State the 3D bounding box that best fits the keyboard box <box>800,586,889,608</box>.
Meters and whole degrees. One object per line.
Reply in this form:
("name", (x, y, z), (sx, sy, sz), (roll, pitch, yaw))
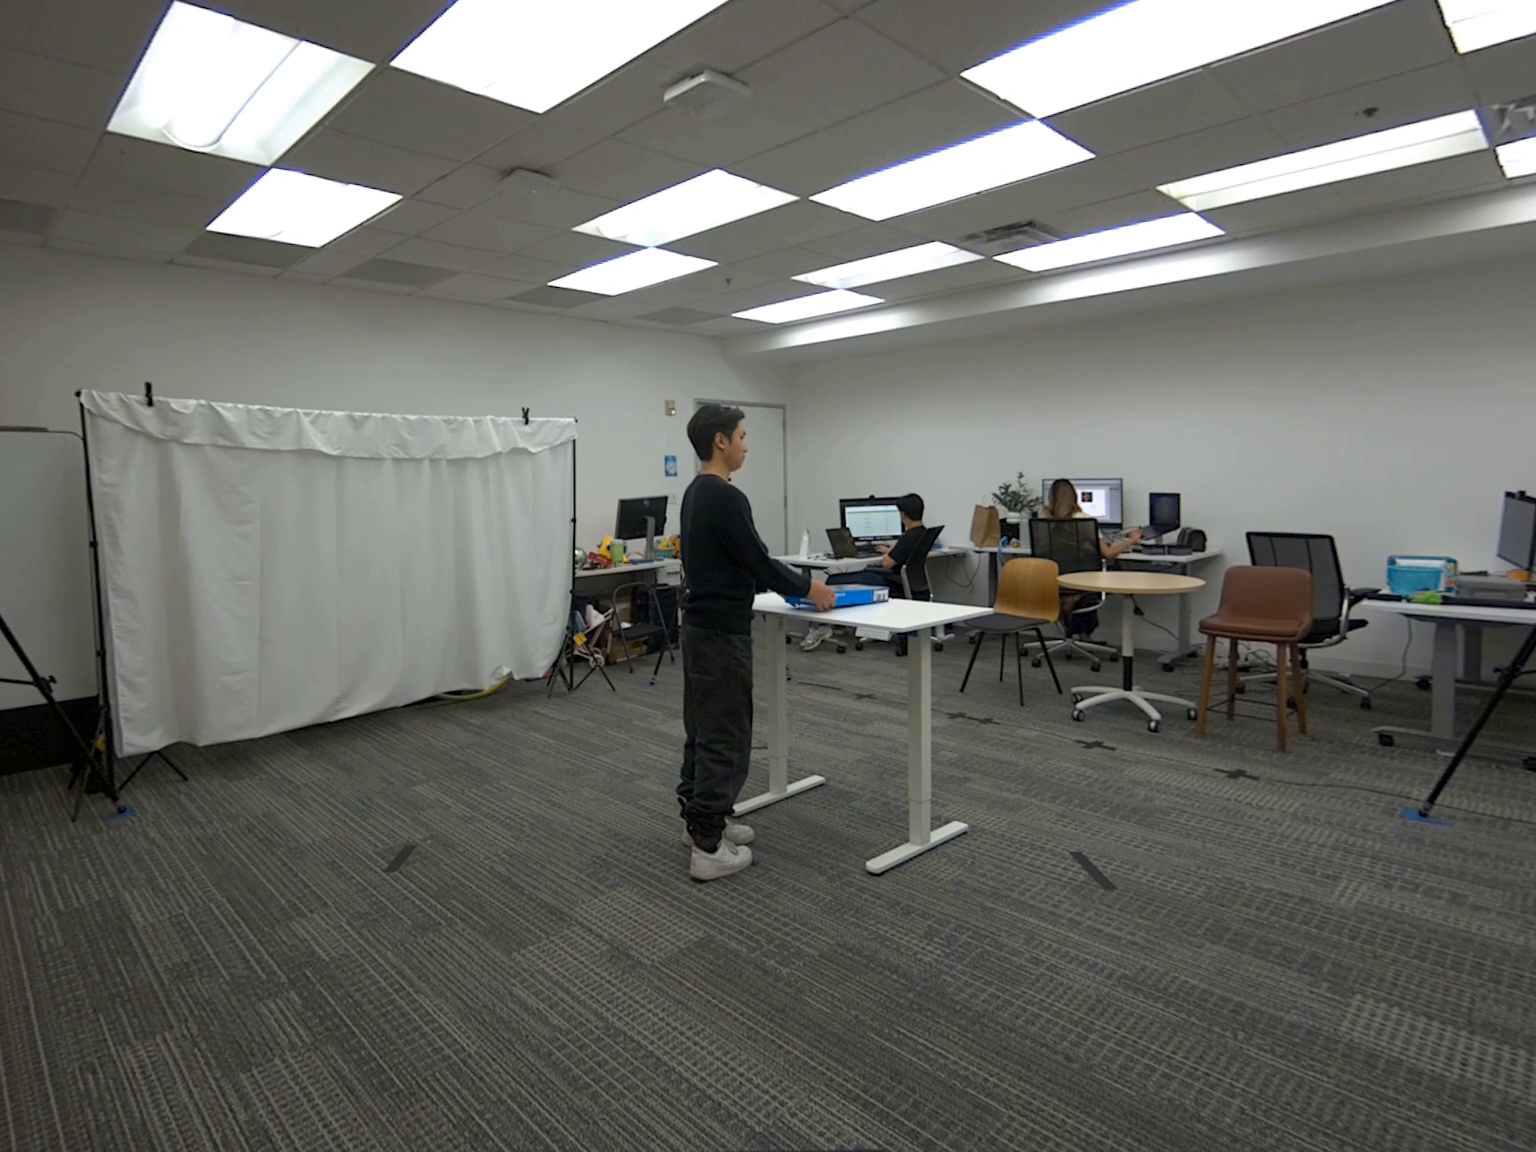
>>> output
("keyboard box", (0.280, 0.077, 3.410), (0.425, 0.059, 0.181), (-3, 6, -42))
